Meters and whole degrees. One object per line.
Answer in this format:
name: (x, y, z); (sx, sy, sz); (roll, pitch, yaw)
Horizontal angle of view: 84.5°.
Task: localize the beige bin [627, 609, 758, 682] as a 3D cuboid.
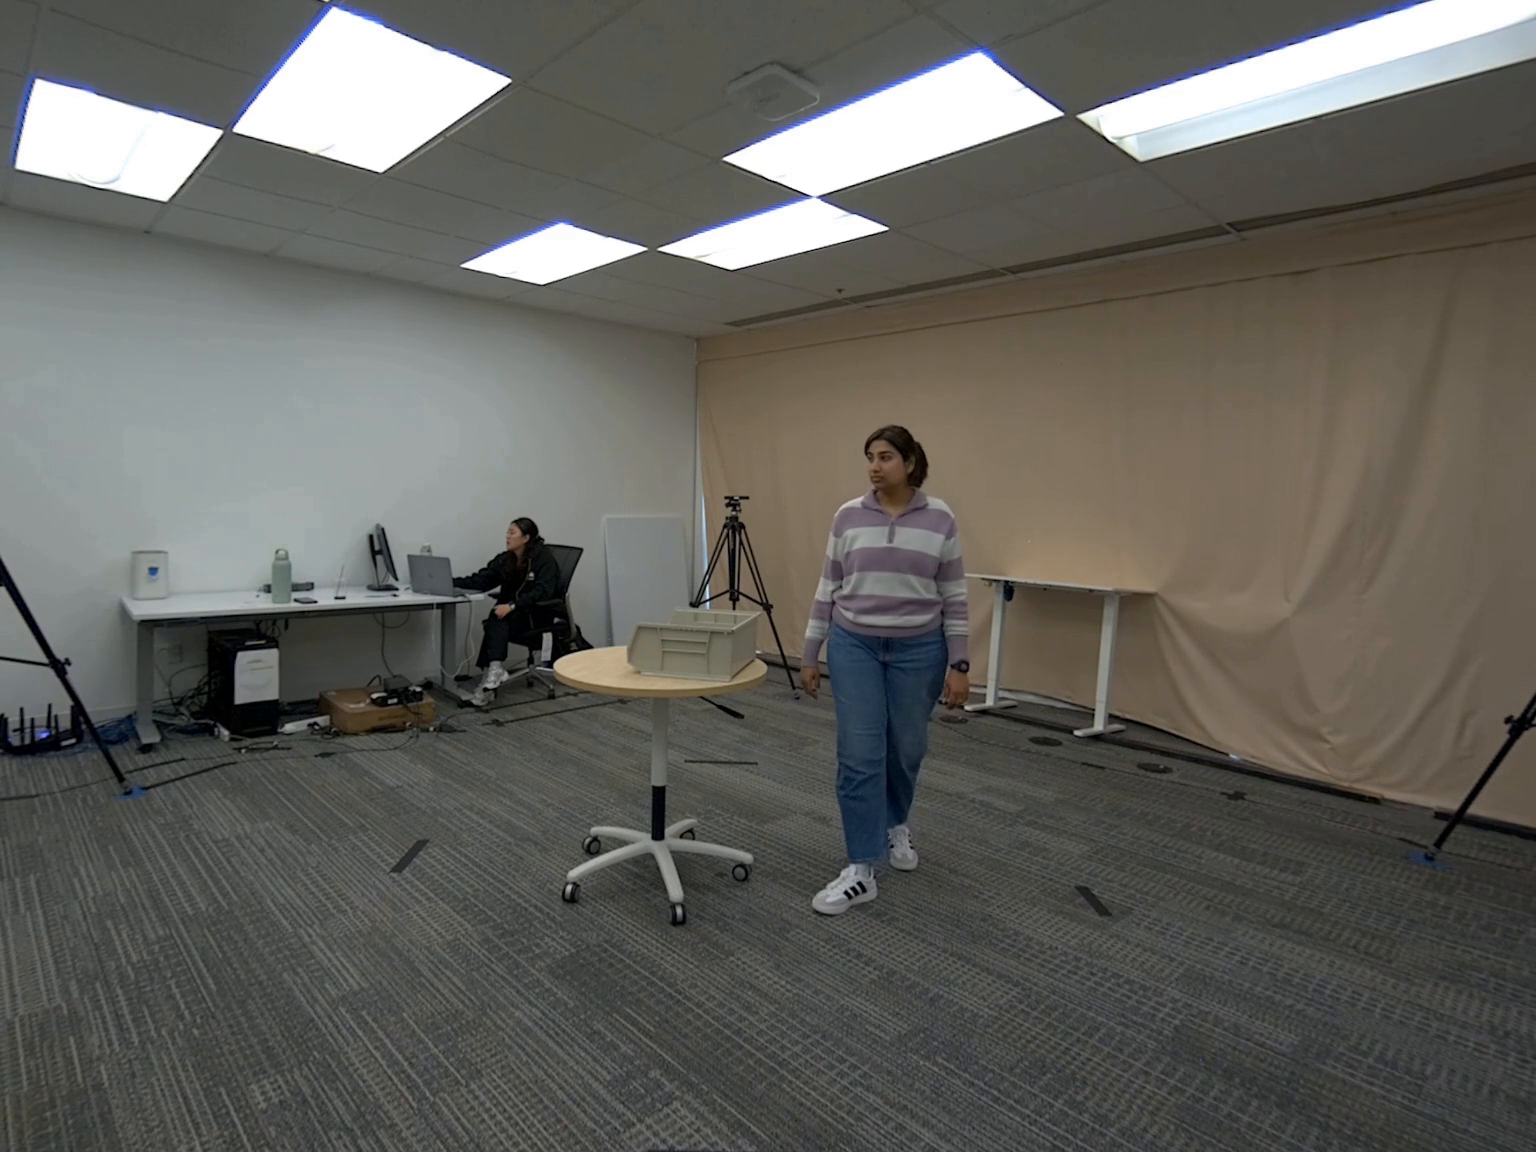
beige bin: (-0.258, 0.237, 3.016); (0.381, 0.188, 0.419); (3, 5, 13)
